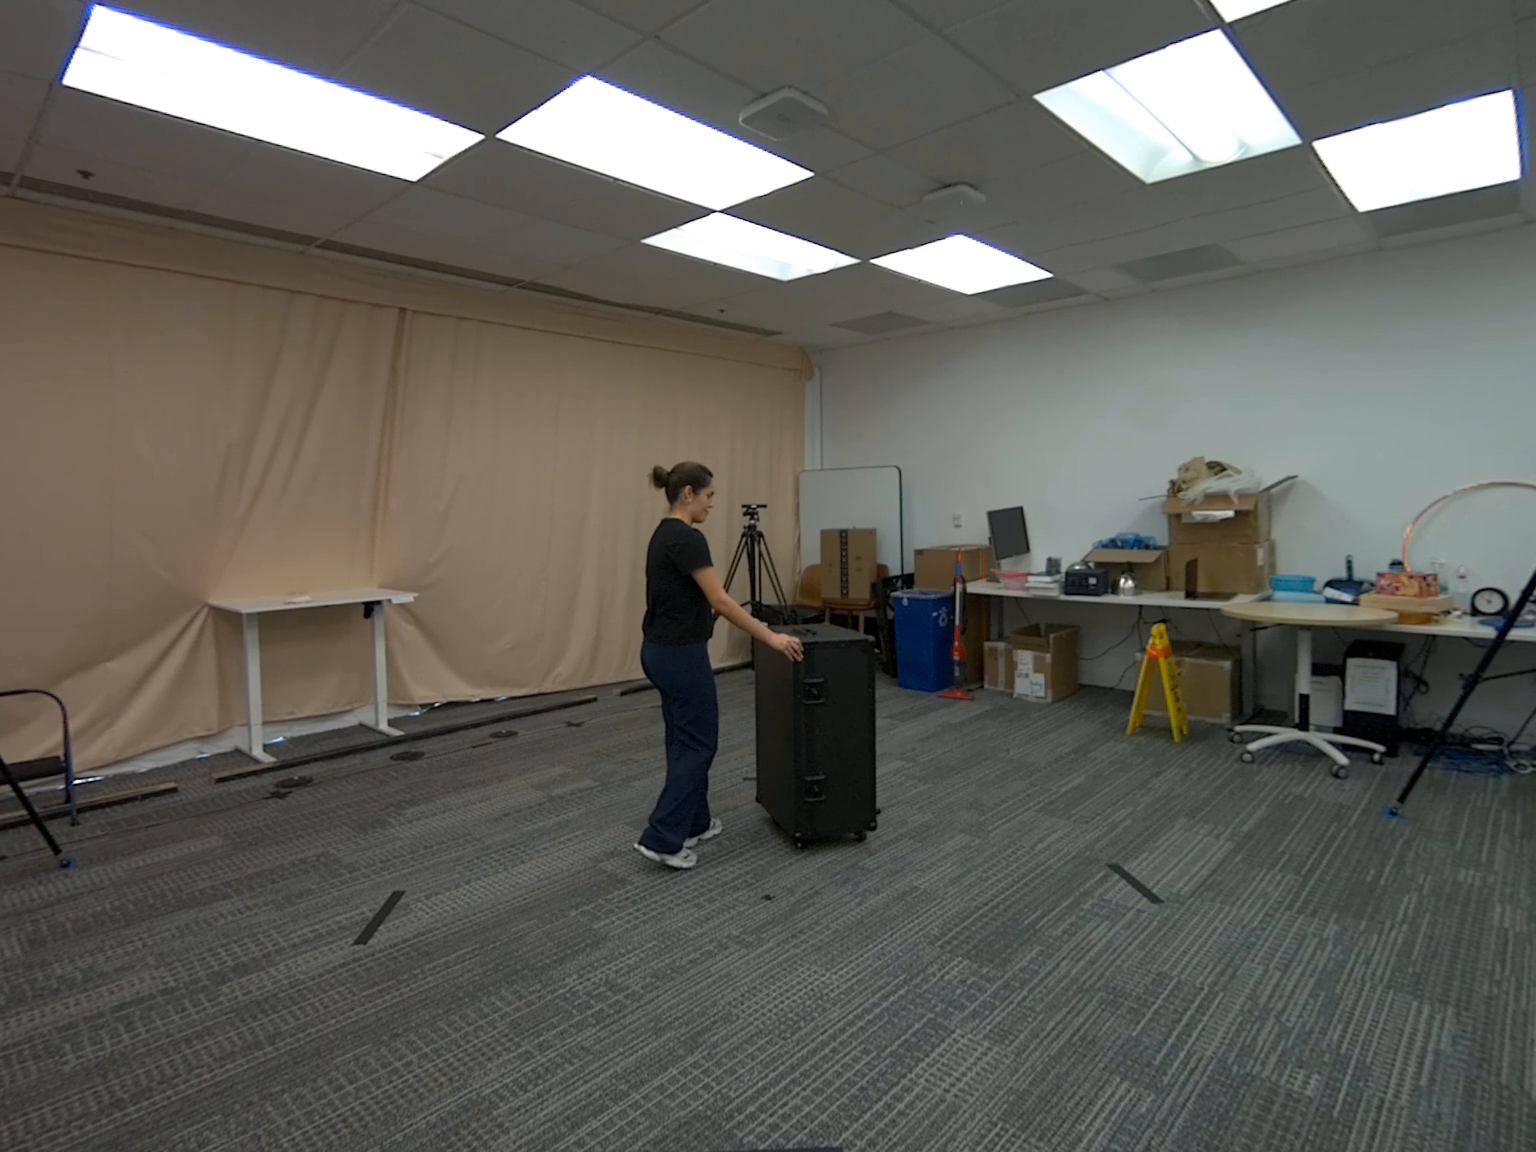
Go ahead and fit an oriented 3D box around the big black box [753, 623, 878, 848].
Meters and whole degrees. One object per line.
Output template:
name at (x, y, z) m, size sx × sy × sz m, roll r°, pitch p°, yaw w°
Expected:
big black box at (0.210, 0.664, 3.571) m, size 0.389 × 0.860 × 0.532 m, roll 0°, pitch 2°, yaw -19°
